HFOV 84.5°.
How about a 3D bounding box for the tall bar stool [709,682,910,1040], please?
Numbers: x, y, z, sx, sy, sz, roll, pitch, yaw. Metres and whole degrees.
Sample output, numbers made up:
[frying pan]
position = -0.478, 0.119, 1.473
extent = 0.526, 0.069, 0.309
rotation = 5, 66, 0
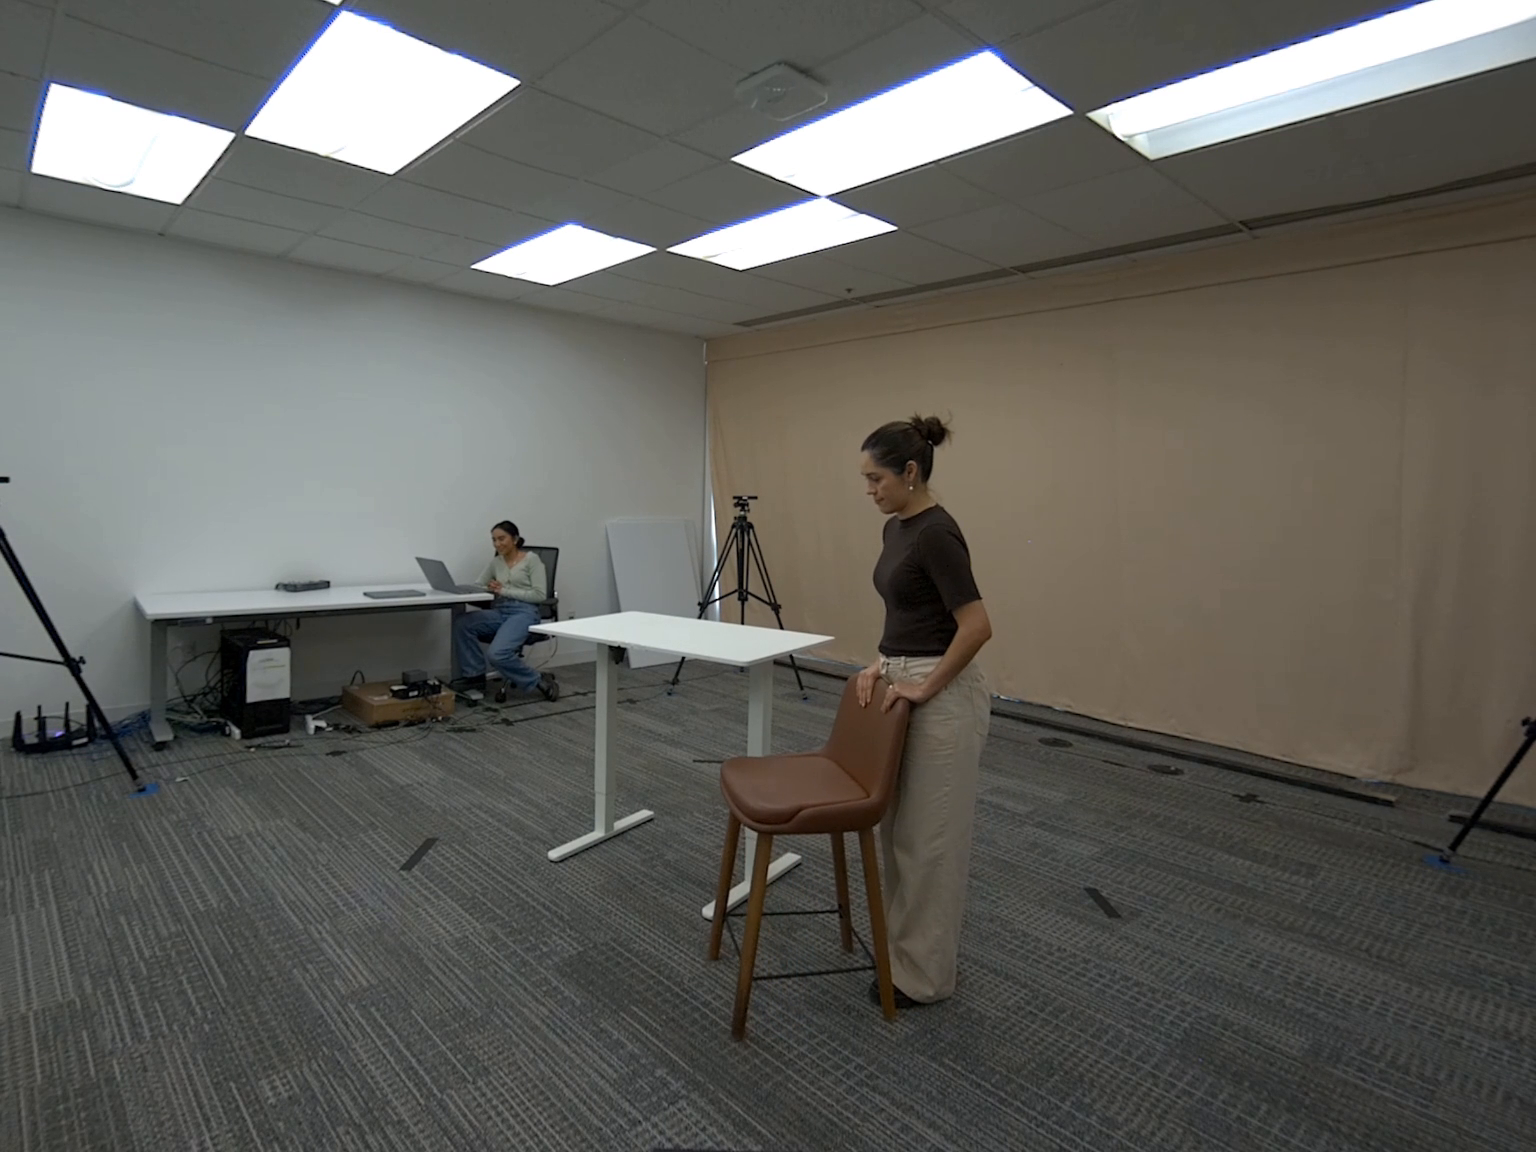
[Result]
[tall bar stool]
position = 0.103, 0.739, 2.366
extent = 0.463, 0.887, 0.462
rotation = 3, 4, -12
